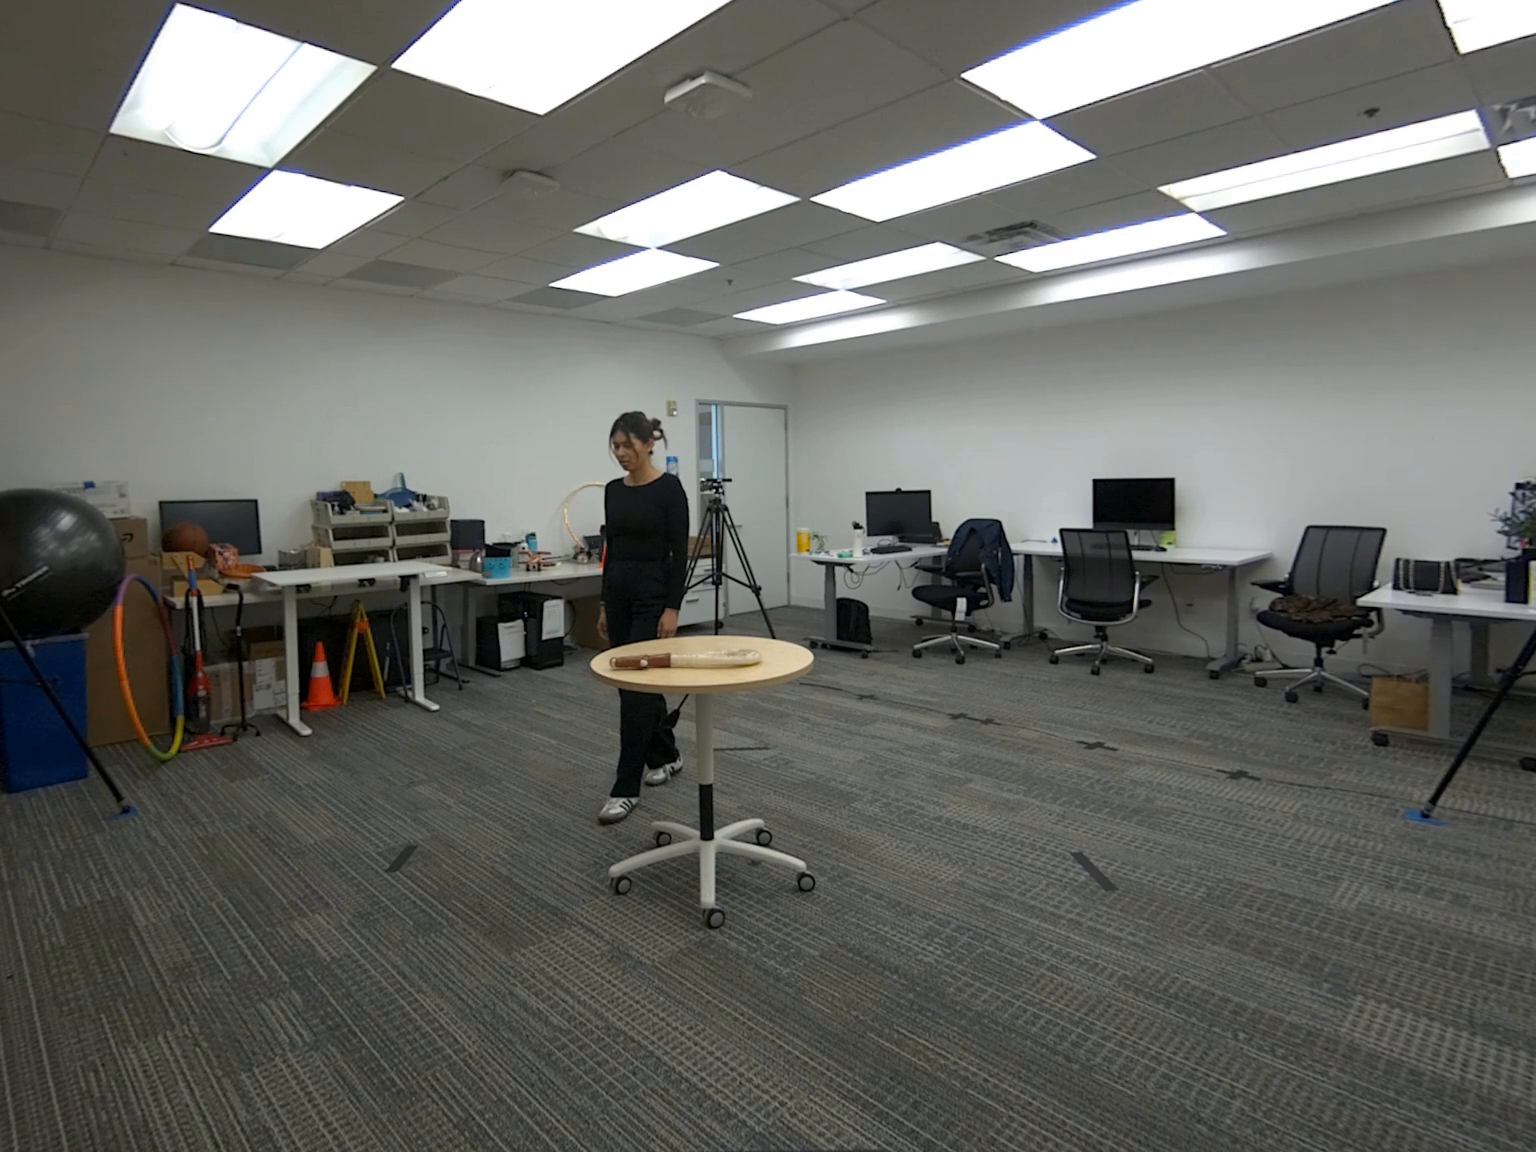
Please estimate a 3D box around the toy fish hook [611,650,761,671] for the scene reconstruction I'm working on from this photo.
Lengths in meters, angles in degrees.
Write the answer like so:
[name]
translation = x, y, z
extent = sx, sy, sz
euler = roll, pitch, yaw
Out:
[toy fish hook]
translation = -0.275, 0.285, 2.870
extent = 0.504, 0.048, 0.225
euler = -1, -2, -5
